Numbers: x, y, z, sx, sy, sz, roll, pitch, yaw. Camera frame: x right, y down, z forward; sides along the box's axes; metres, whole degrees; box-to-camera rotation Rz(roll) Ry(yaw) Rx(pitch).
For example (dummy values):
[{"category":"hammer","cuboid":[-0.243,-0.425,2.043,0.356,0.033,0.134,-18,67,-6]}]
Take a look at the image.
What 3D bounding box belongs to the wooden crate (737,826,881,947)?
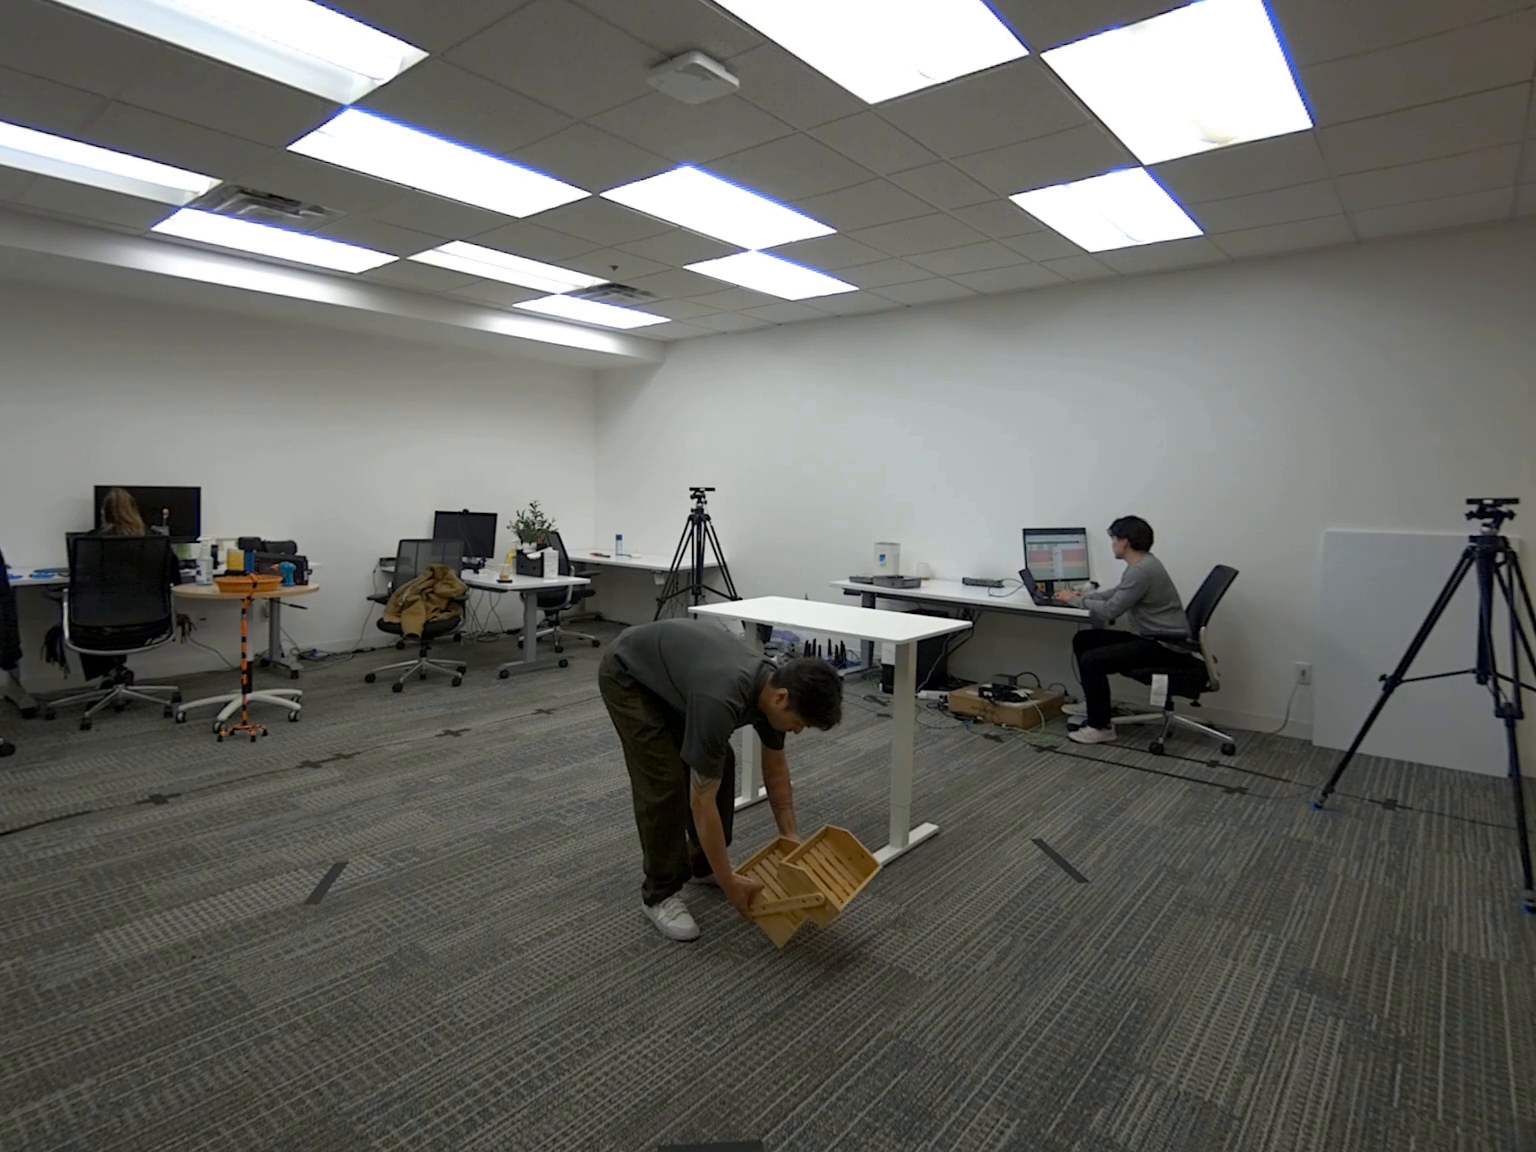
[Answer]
[{"category":"wooden crate","cuboid":[0.107,0.912,2.580,0.311,0.272,0.317,41,25,19]}]
